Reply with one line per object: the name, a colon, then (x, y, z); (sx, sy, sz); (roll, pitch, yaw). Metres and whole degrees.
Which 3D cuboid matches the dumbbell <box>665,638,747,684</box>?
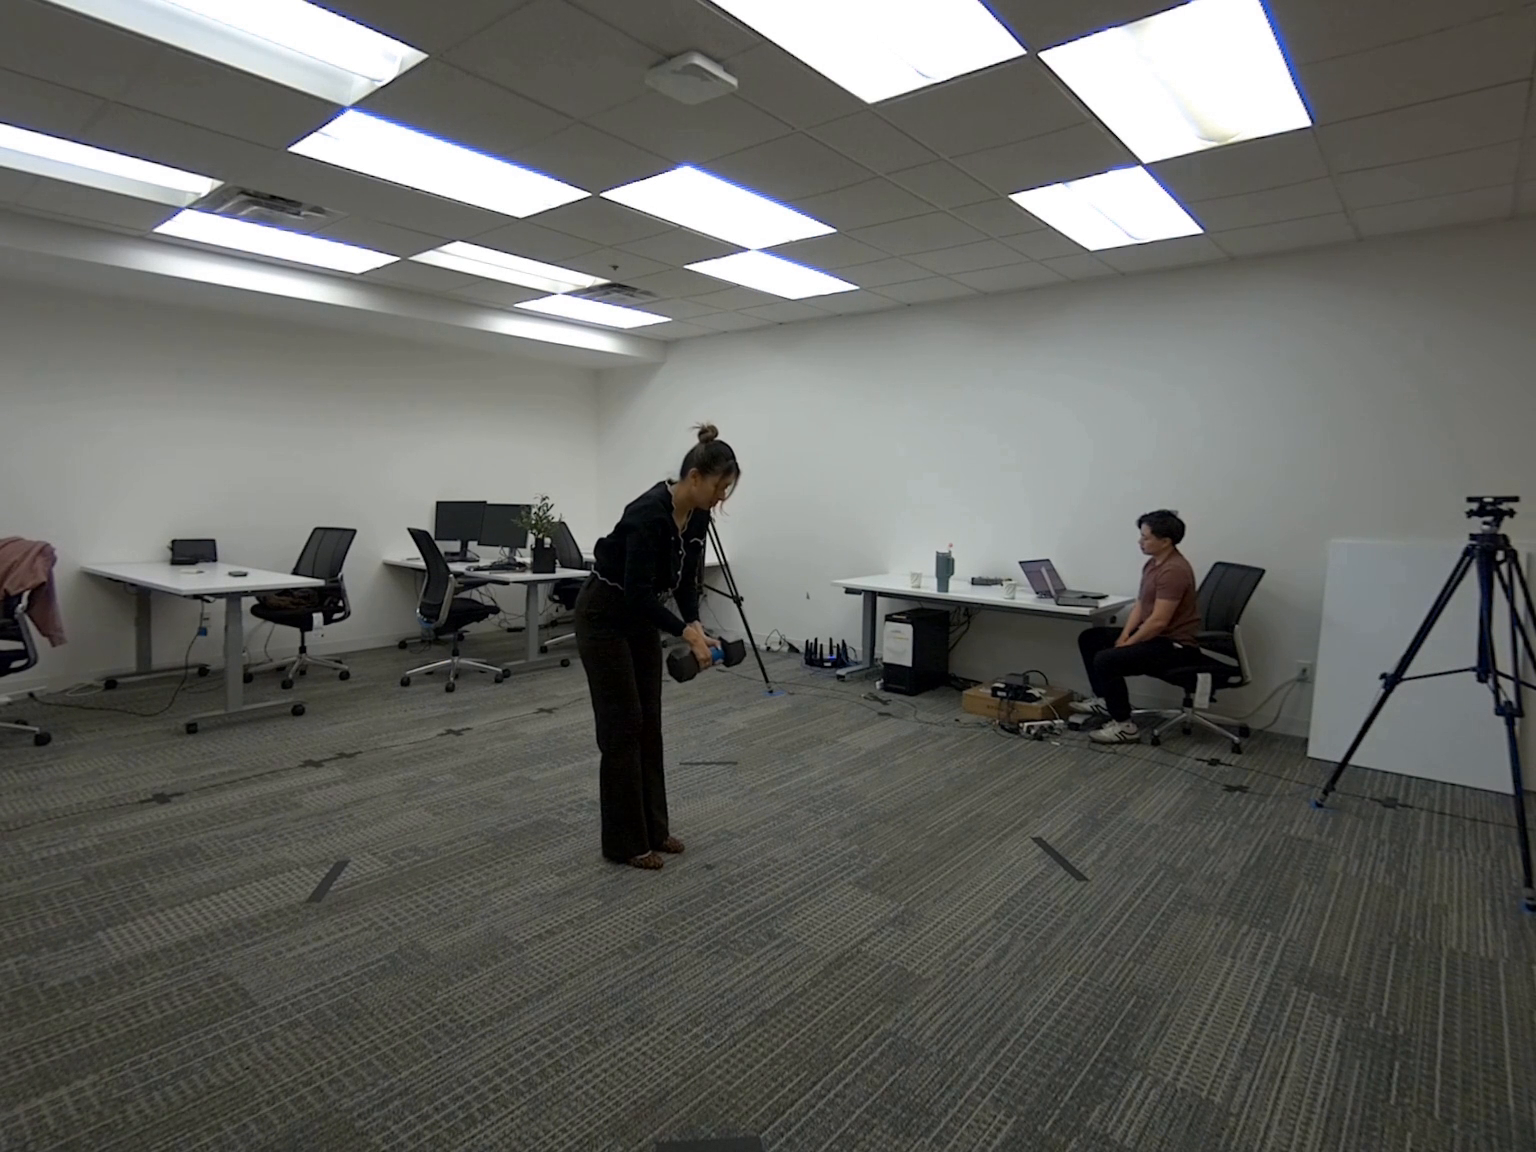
dumbbell: (-0.233, 0.299, 3.085); (0.287, 0.106, 0.128); (-14, 31, -34)
